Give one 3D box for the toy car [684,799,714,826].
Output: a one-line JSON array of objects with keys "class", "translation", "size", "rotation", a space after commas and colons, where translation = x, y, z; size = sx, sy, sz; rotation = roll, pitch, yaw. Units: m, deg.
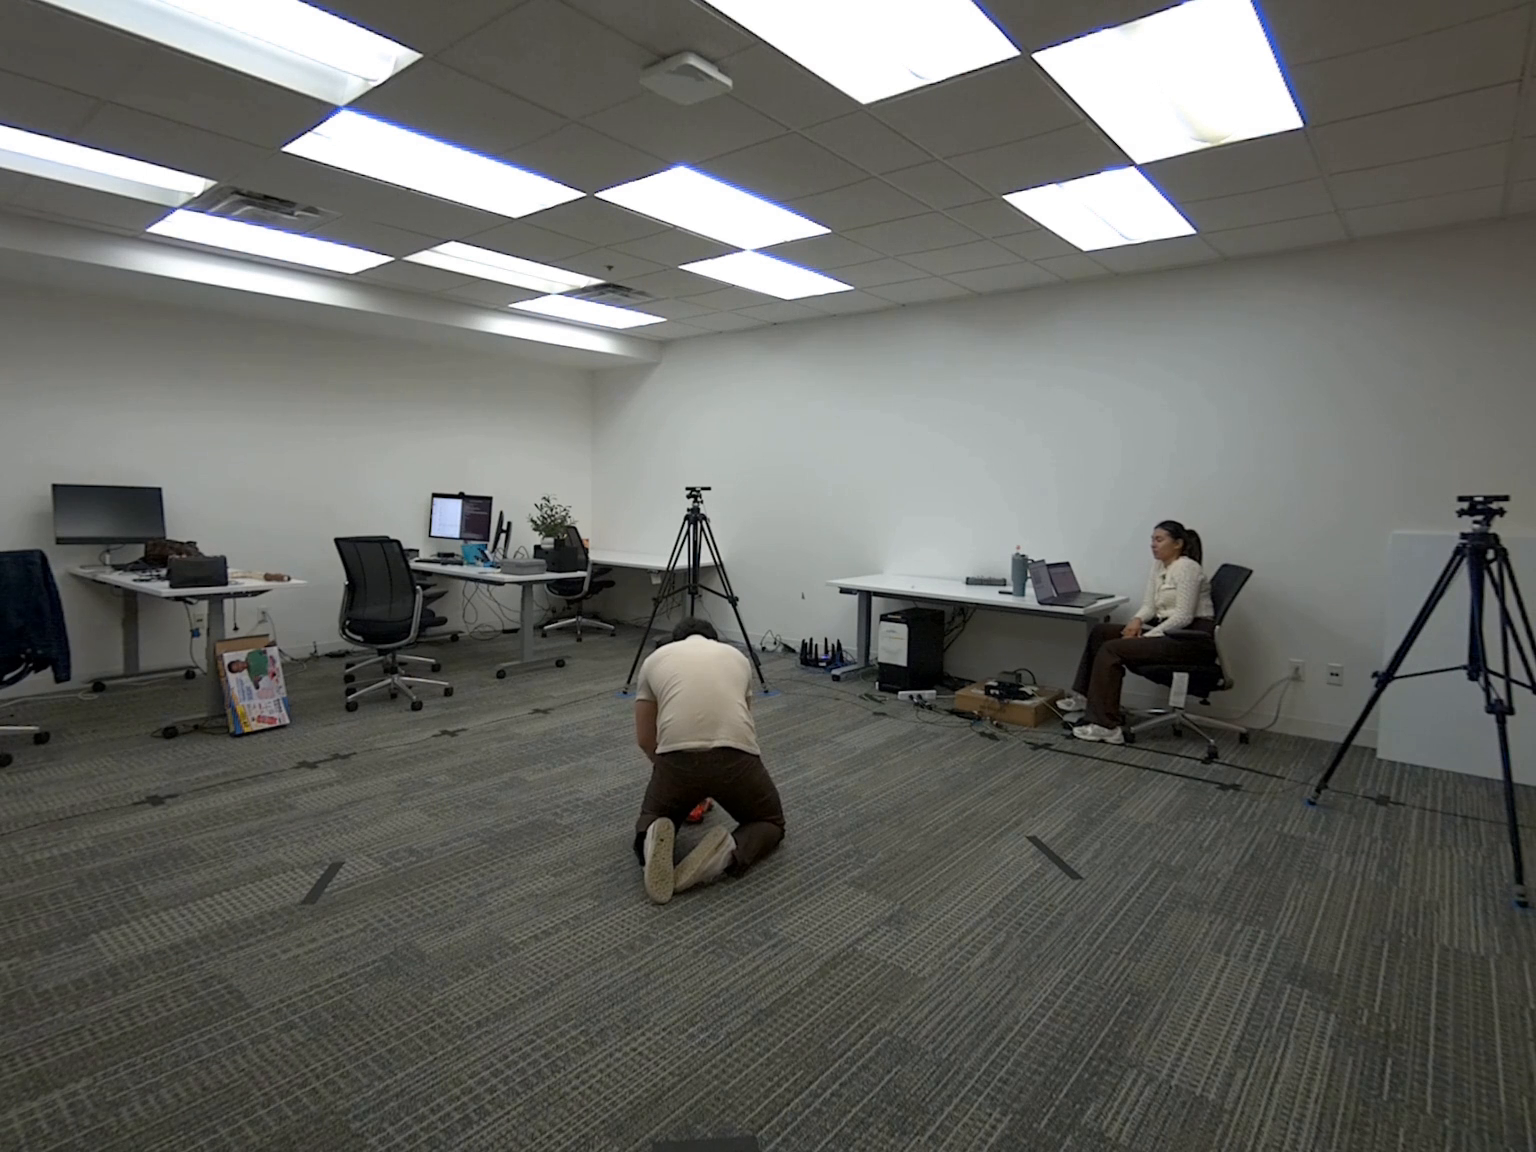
[{"class": "toy car", "translation": [-0.316, 0.983, 3.603], "size": [0.132, 0.083, 0.249], "rotation": [-1, -4, 12]}]
